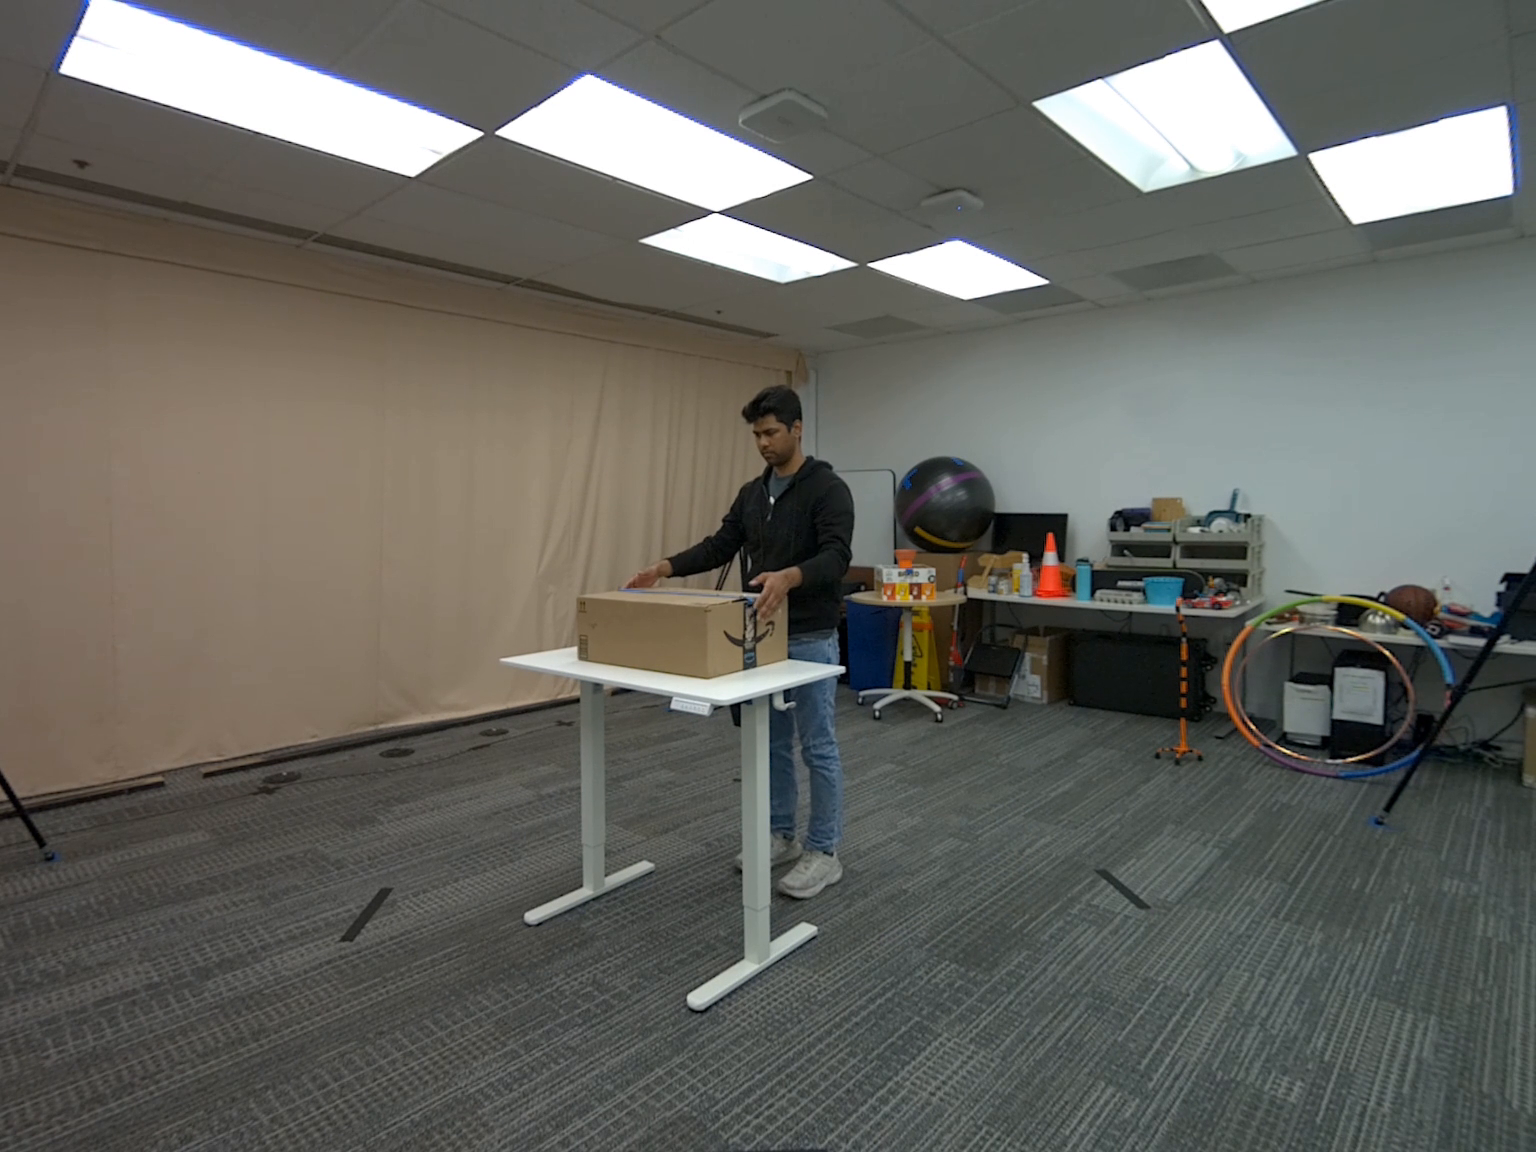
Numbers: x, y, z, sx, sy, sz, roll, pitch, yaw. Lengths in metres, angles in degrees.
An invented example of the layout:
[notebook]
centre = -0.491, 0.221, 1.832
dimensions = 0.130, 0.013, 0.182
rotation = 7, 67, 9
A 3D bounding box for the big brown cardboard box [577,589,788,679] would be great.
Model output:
[big brown cardboard box]
centre = -0.280, 0.169, 2.798
dimensions = 0.608, 0.233, 0.405
rotation = 2, 5, 37
